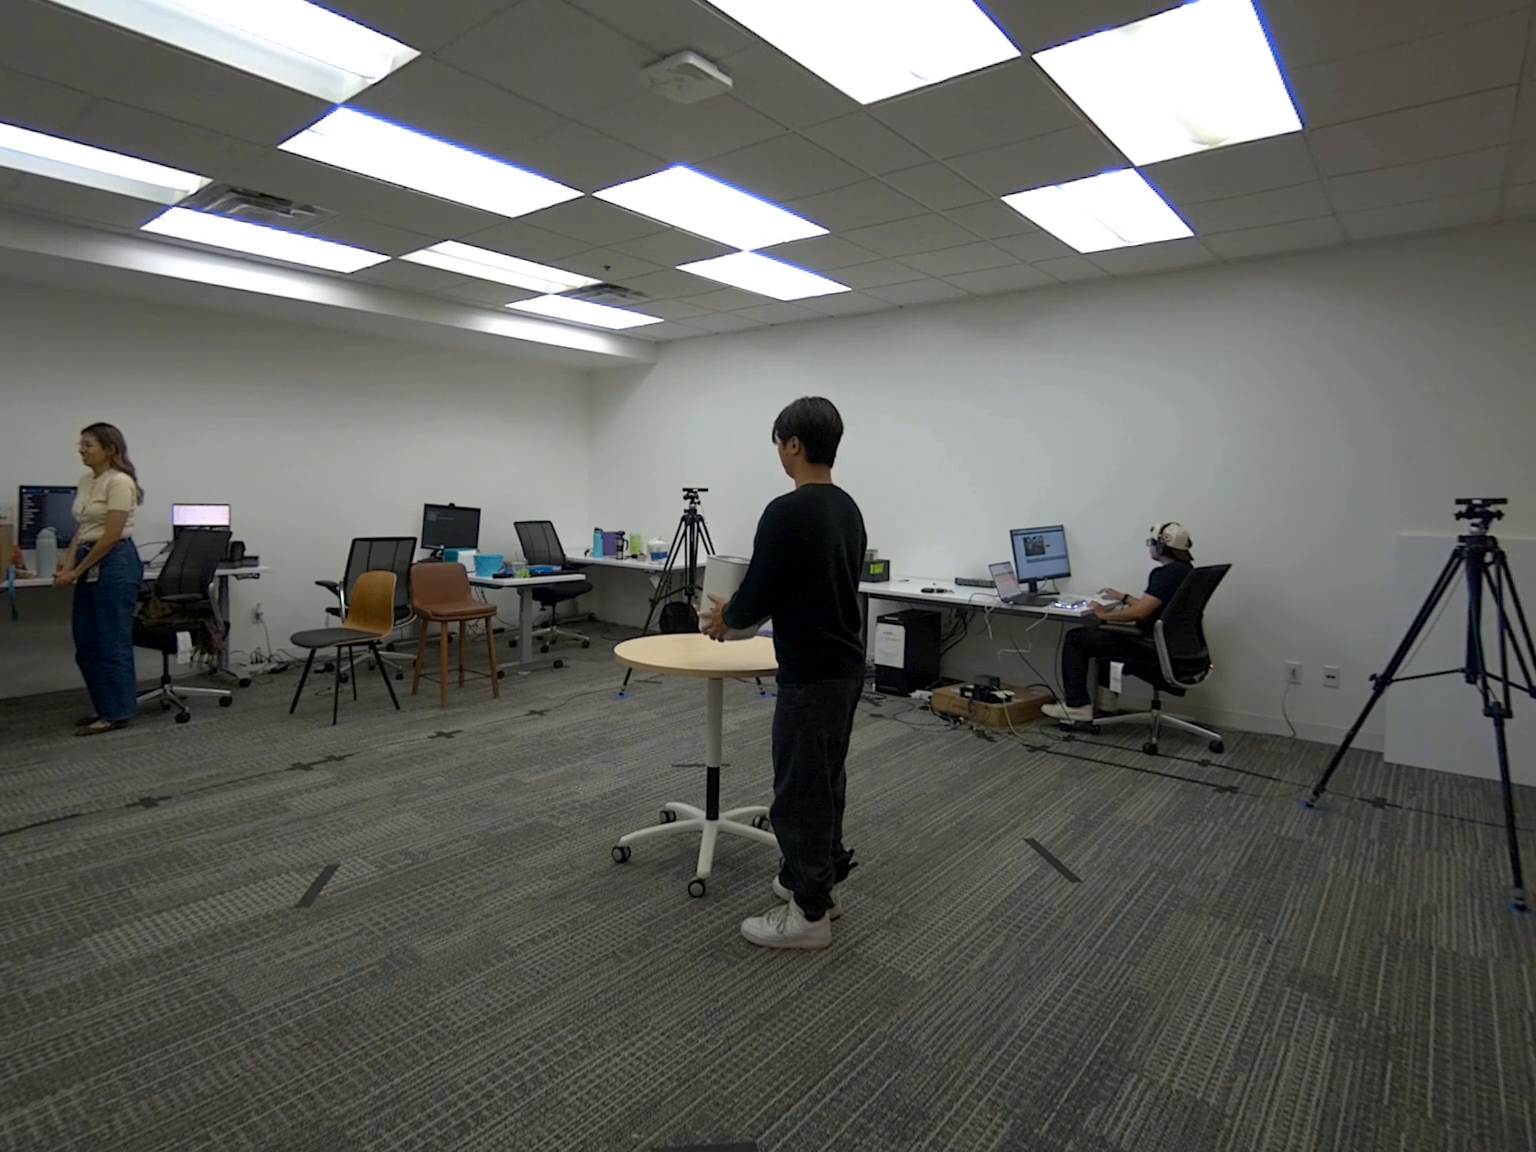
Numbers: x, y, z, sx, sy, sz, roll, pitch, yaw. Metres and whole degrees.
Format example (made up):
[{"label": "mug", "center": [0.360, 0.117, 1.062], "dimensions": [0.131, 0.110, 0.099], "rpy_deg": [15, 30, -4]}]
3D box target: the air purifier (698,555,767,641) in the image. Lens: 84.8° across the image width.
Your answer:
[{"label": "air purifier", "center": [-0.128, 0.071, 2.860], "dimensions": [0.177, 0.264, 0.166], "rpy_deg": [12, 7, 42]}]
